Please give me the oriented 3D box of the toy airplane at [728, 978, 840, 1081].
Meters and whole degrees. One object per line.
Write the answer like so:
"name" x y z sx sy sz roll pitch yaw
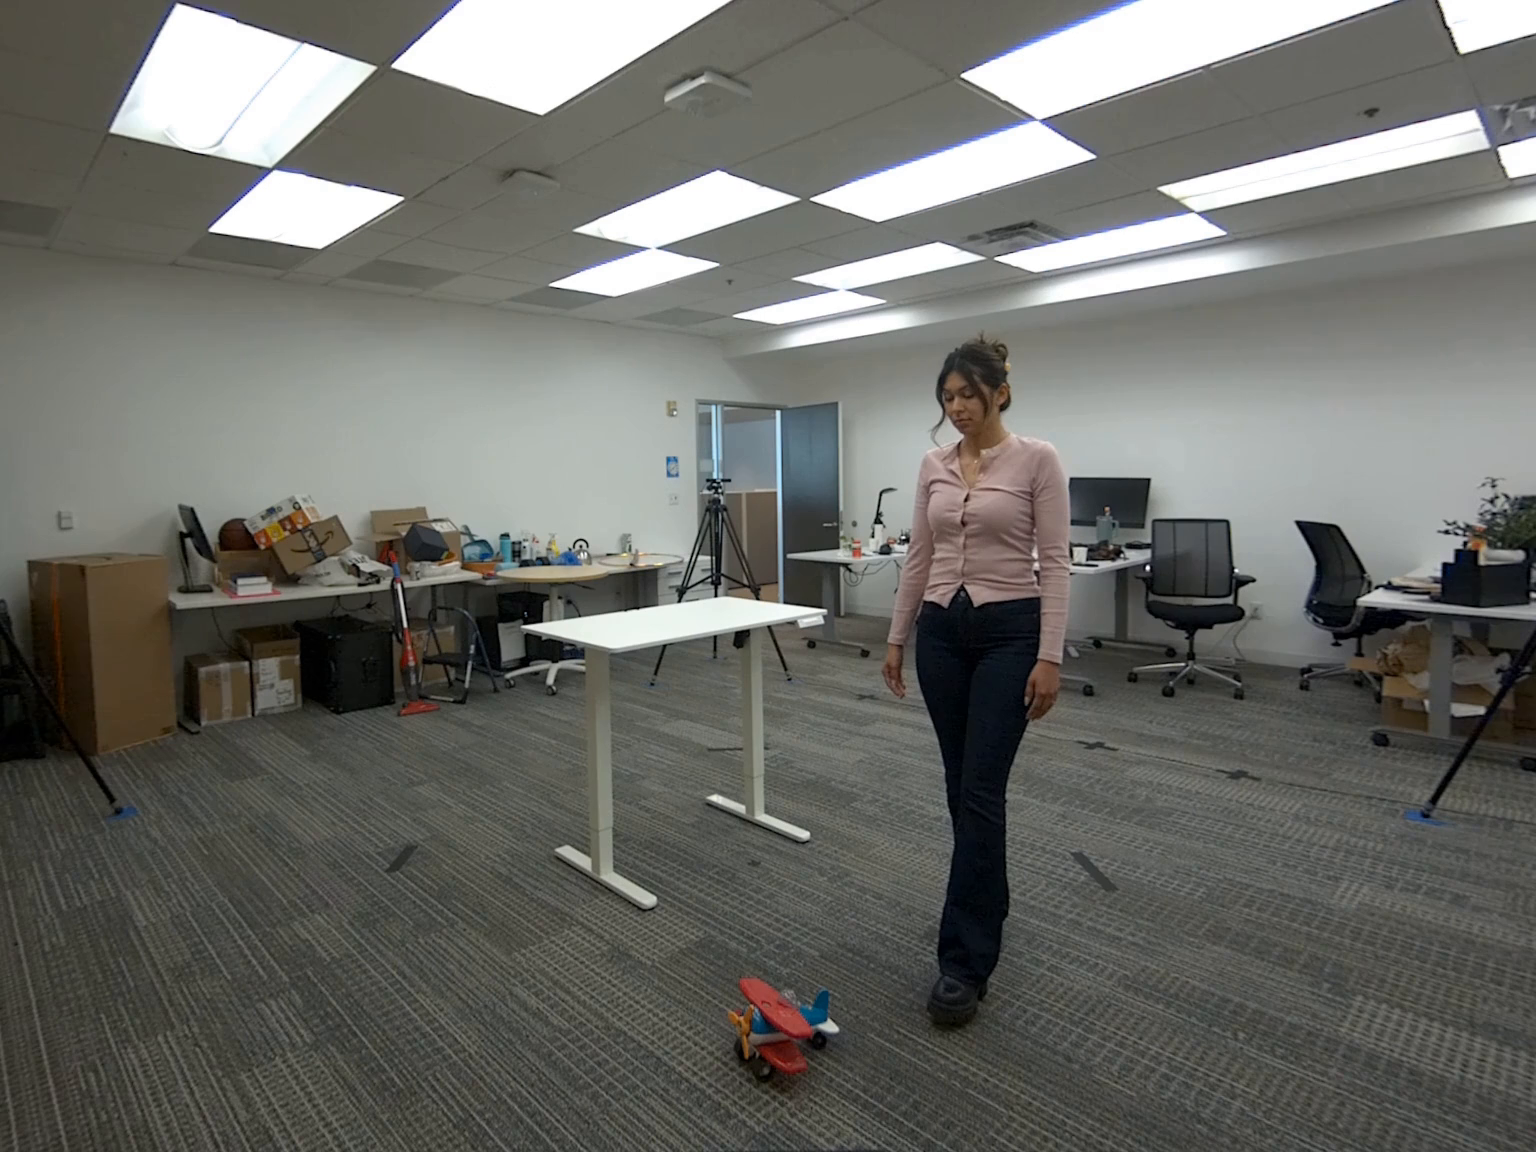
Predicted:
"toy airplane" 0.038 1.094 2.071 0.257 0.155 0.254 1 7 30
